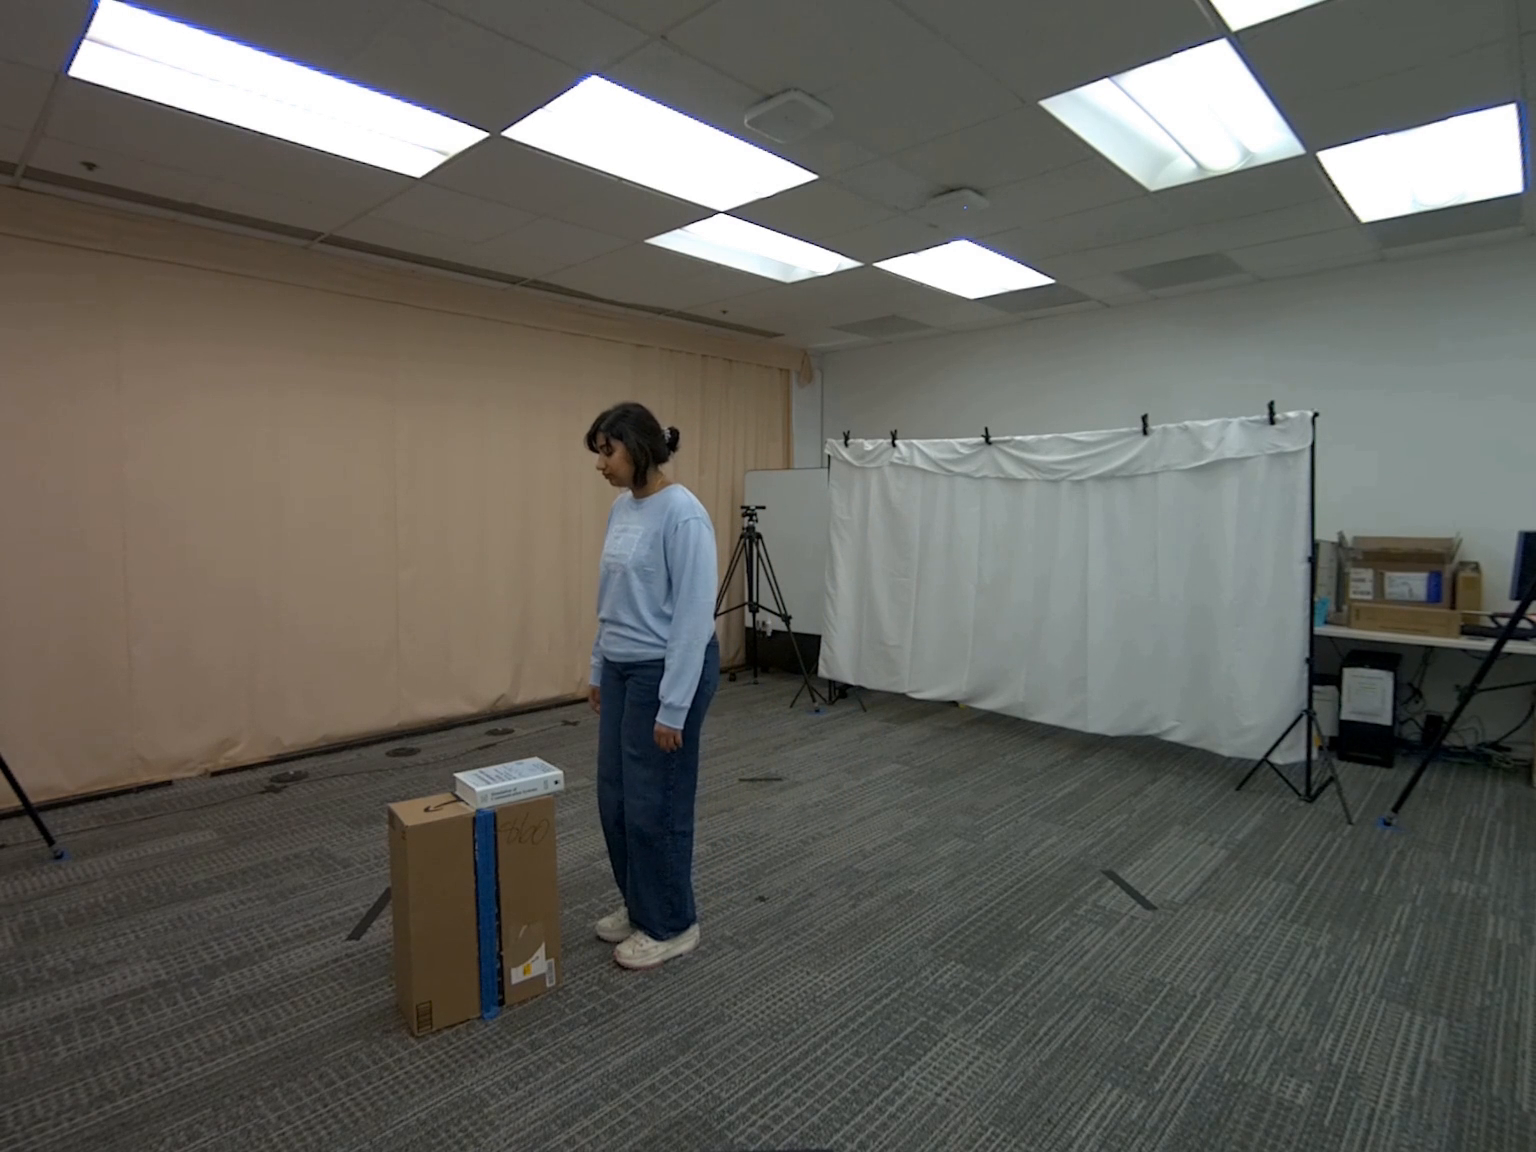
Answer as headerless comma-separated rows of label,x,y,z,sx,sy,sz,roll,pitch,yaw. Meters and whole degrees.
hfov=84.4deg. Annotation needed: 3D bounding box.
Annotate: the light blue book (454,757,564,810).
light blue book,-0.751,0.601,2.453,0.253,0.059,0.197,-4,5,-38
